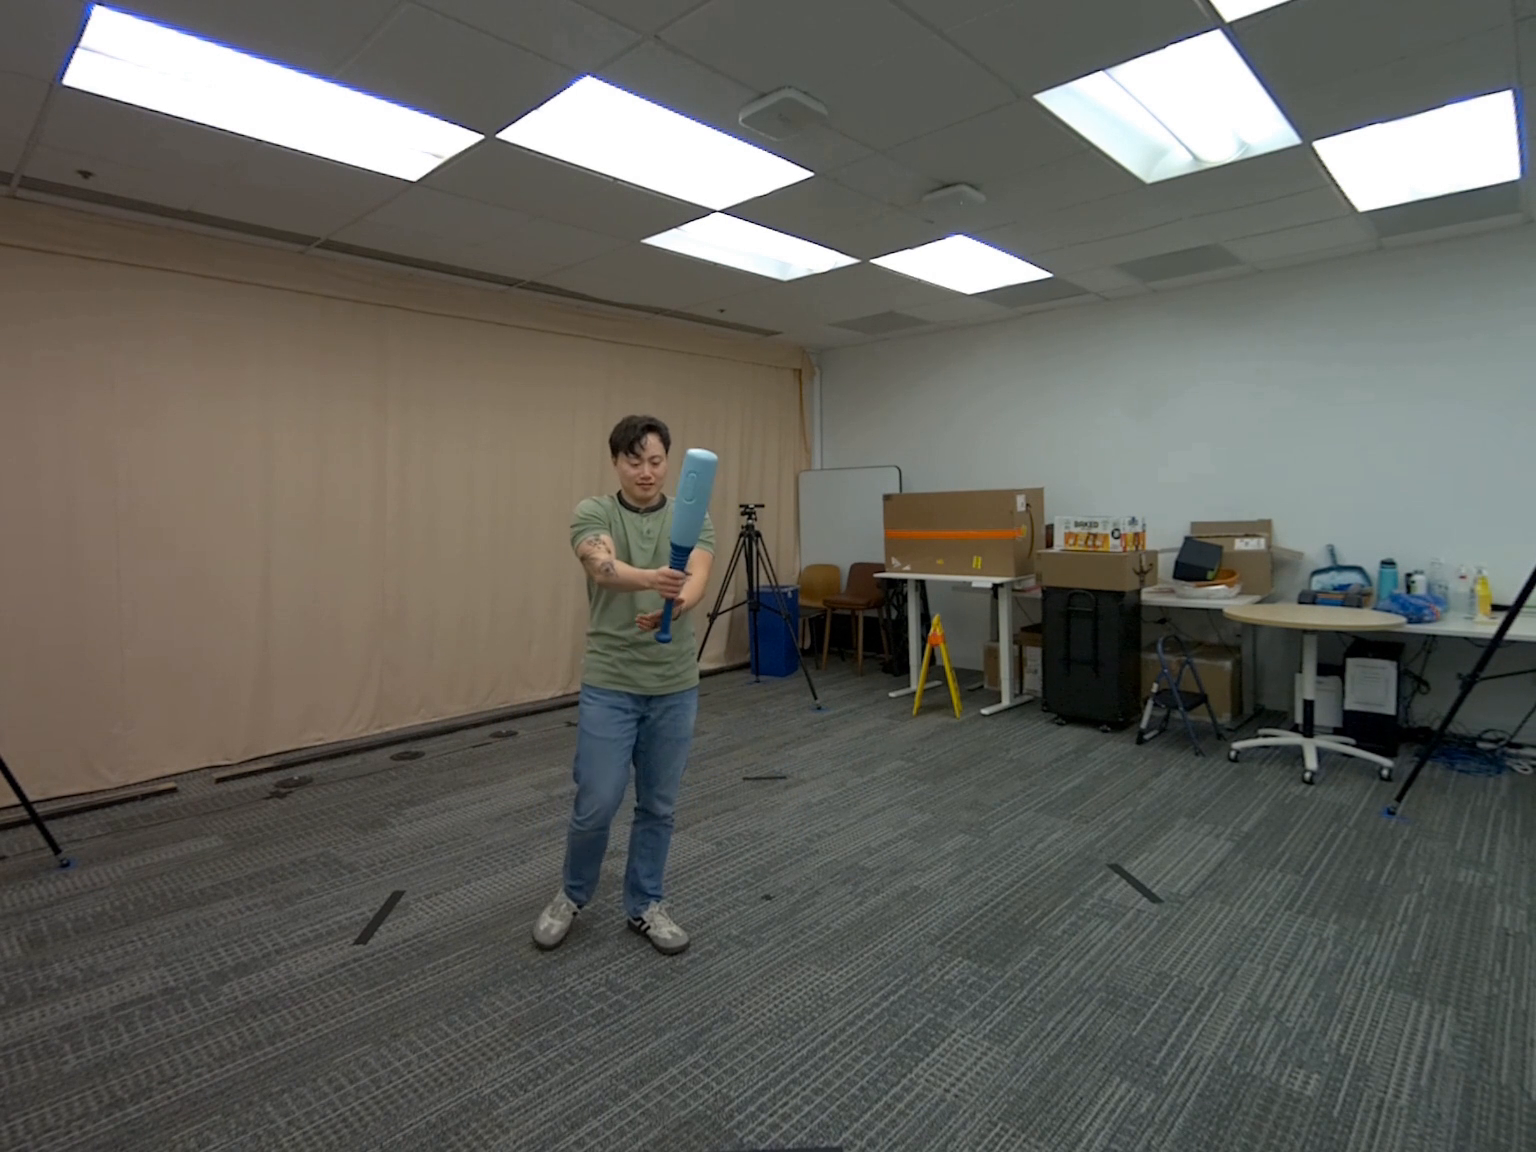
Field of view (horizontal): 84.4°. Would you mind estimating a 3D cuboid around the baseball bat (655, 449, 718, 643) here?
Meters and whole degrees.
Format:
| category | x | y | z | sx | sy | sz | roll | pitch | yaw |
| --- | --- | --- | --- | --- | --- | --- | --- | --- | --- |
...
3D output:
| category | x | y | z | sx | sy | sz | roll | pitch | yaw |
| --- | --- | --- | --- | --- | --- | --- | --- | --- | --- |
| baseball bat | -0.235 | -0.062 | 2.222 | 0.088 | 0.540 | 0.090 | 14 | 19 | -7 |
